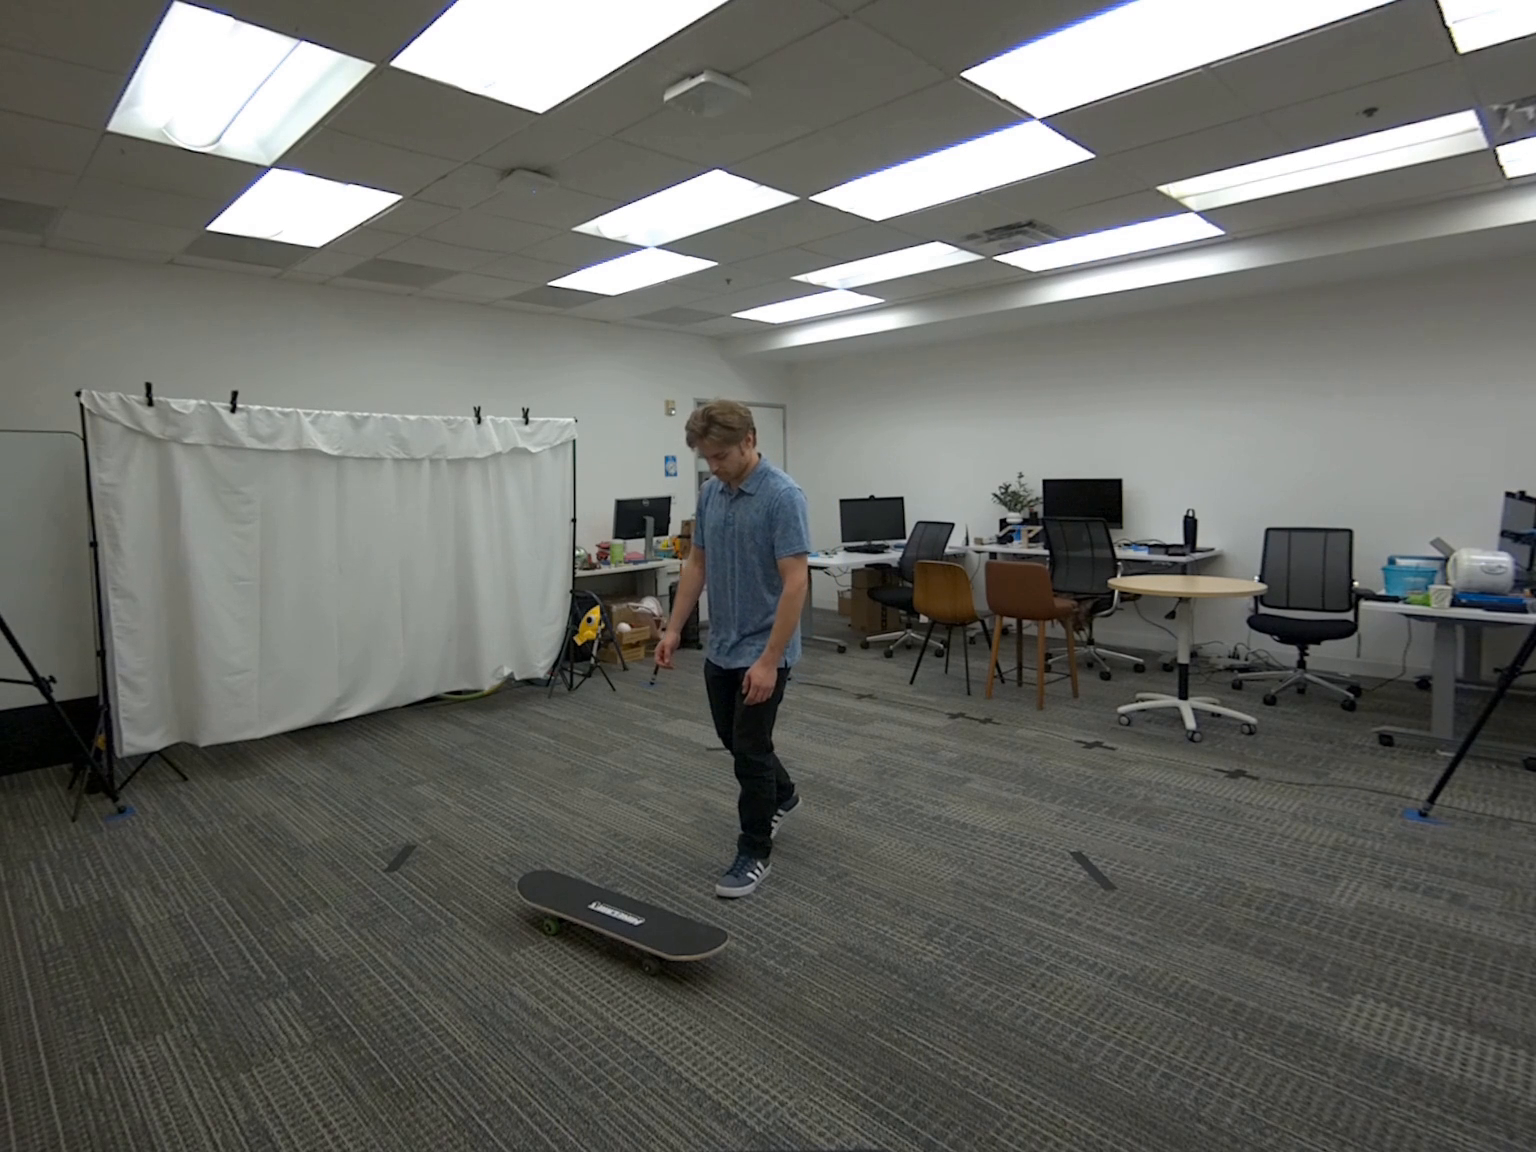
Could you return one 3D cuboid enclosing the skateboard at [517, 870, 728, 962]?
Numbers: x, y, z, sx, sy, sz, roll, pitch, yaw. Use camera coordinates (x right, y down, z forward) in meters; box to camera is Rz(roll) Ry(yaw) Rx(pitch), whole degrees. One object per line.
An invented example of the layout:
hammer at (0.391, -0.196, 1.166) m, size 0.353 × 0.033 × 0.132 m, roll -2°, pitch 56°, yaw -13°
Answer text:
skateboard at (-0.456, 1.056, 2.590) m, size 0.807 × 0.110 × 0.189 m, roll 3°, pitch 7°, yaw 33°
